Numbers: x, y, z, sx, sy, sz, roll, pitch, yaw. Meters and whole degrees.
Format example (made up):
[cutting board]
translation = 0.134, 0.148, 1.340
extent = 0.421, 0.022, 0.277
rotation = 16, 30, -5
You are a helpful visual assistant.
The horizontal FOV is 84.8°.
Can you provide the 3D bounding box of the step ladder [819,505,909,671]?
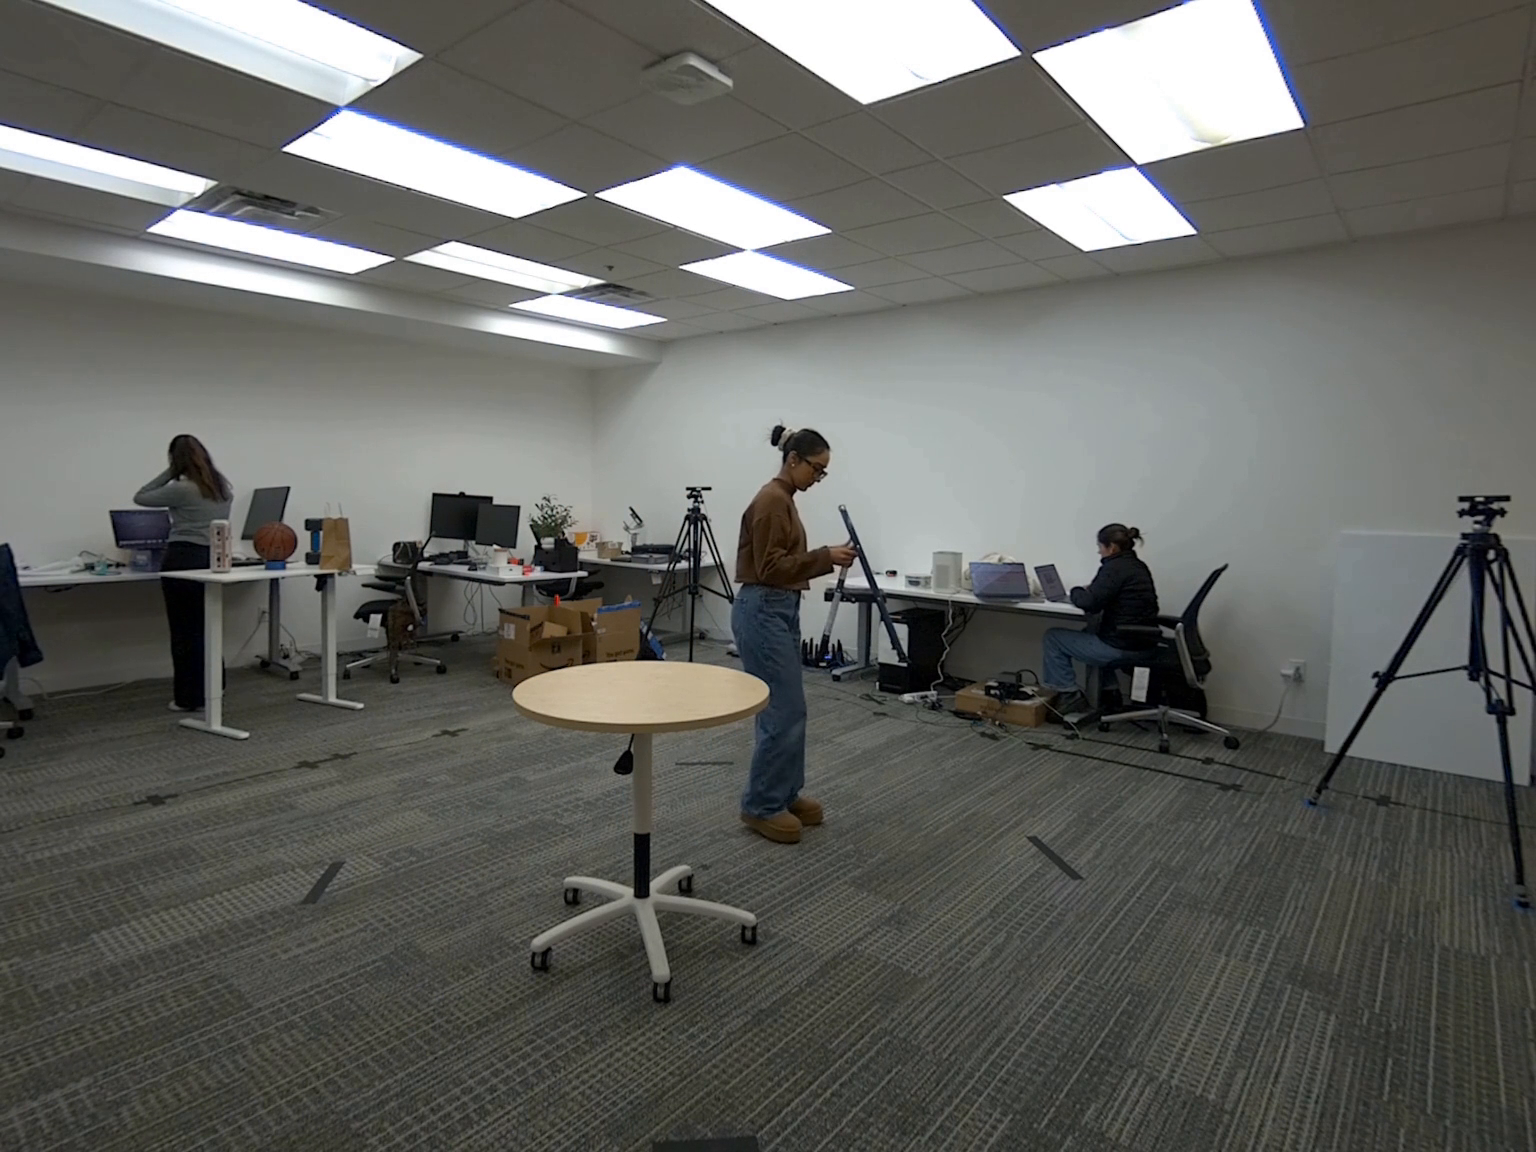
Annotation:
[step ladder]
translation = 0.371, 0.019, 3.476
extent = 0.352, 0.606, 0.428
rotation = 0, 1, 5
